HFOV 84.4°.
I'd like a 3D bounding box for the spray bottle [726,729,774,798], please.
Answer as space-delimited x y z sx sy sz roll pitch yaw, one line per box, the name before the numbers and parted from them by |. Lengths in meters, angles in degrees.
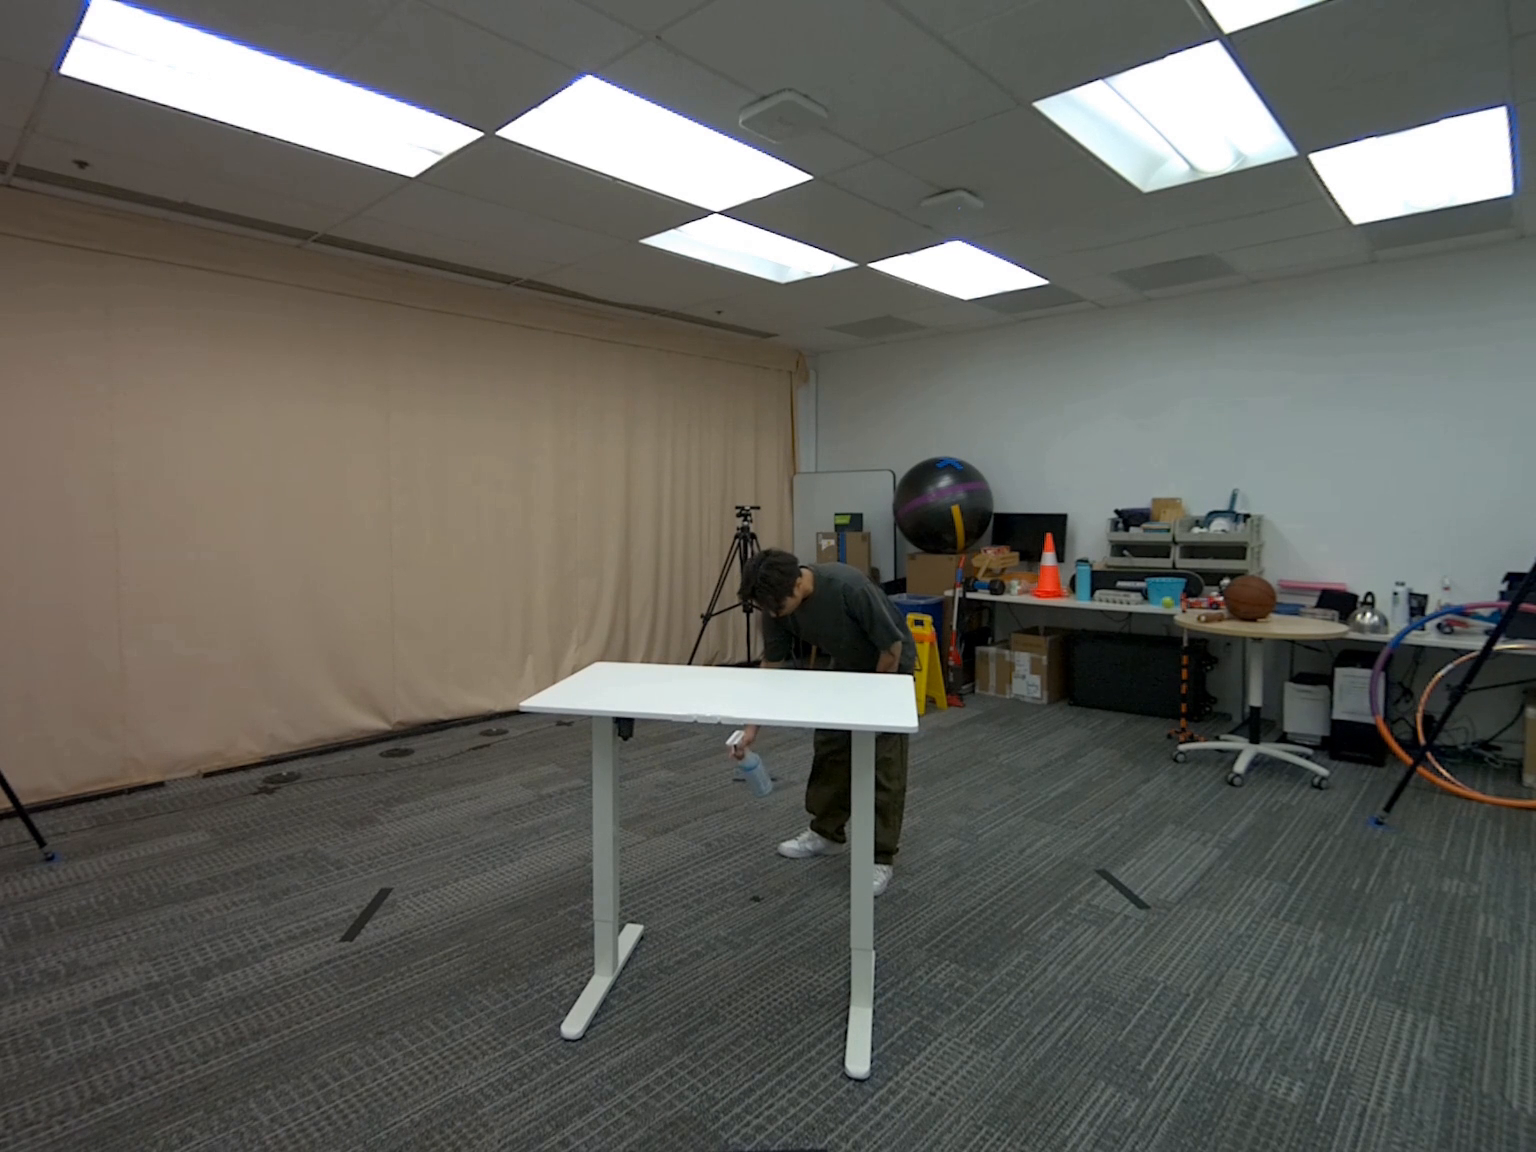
spray bottle | -0.064 0.710 3.171 0.089 0.291 0.090 -30 25 -12
